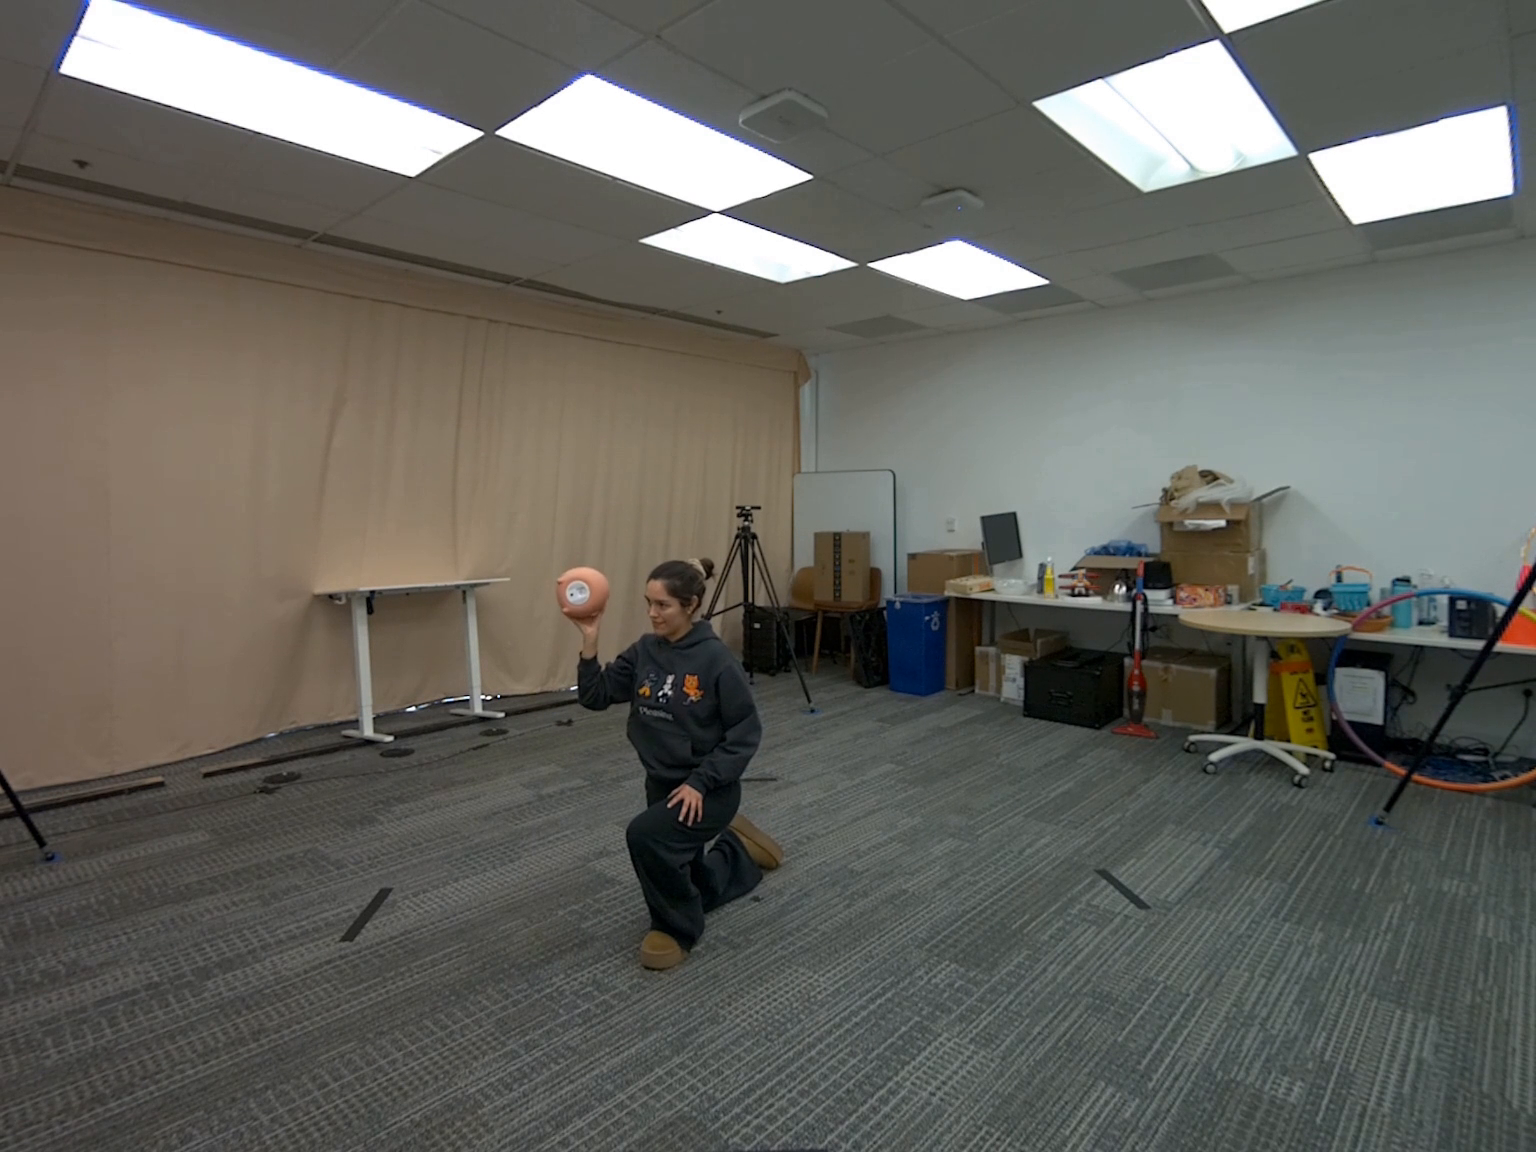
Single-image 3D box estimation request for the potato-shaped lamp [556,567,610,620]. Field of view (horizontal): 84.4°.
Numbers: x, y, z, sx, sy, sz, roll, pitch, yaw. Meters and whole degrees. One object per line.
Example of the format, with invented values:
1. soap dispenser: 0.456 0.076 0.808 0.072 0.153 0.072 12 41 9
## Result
1. potato-shaped lamp: -0.616 0.057 2.841 0.171 0.164 0.199 -15 2 -3
